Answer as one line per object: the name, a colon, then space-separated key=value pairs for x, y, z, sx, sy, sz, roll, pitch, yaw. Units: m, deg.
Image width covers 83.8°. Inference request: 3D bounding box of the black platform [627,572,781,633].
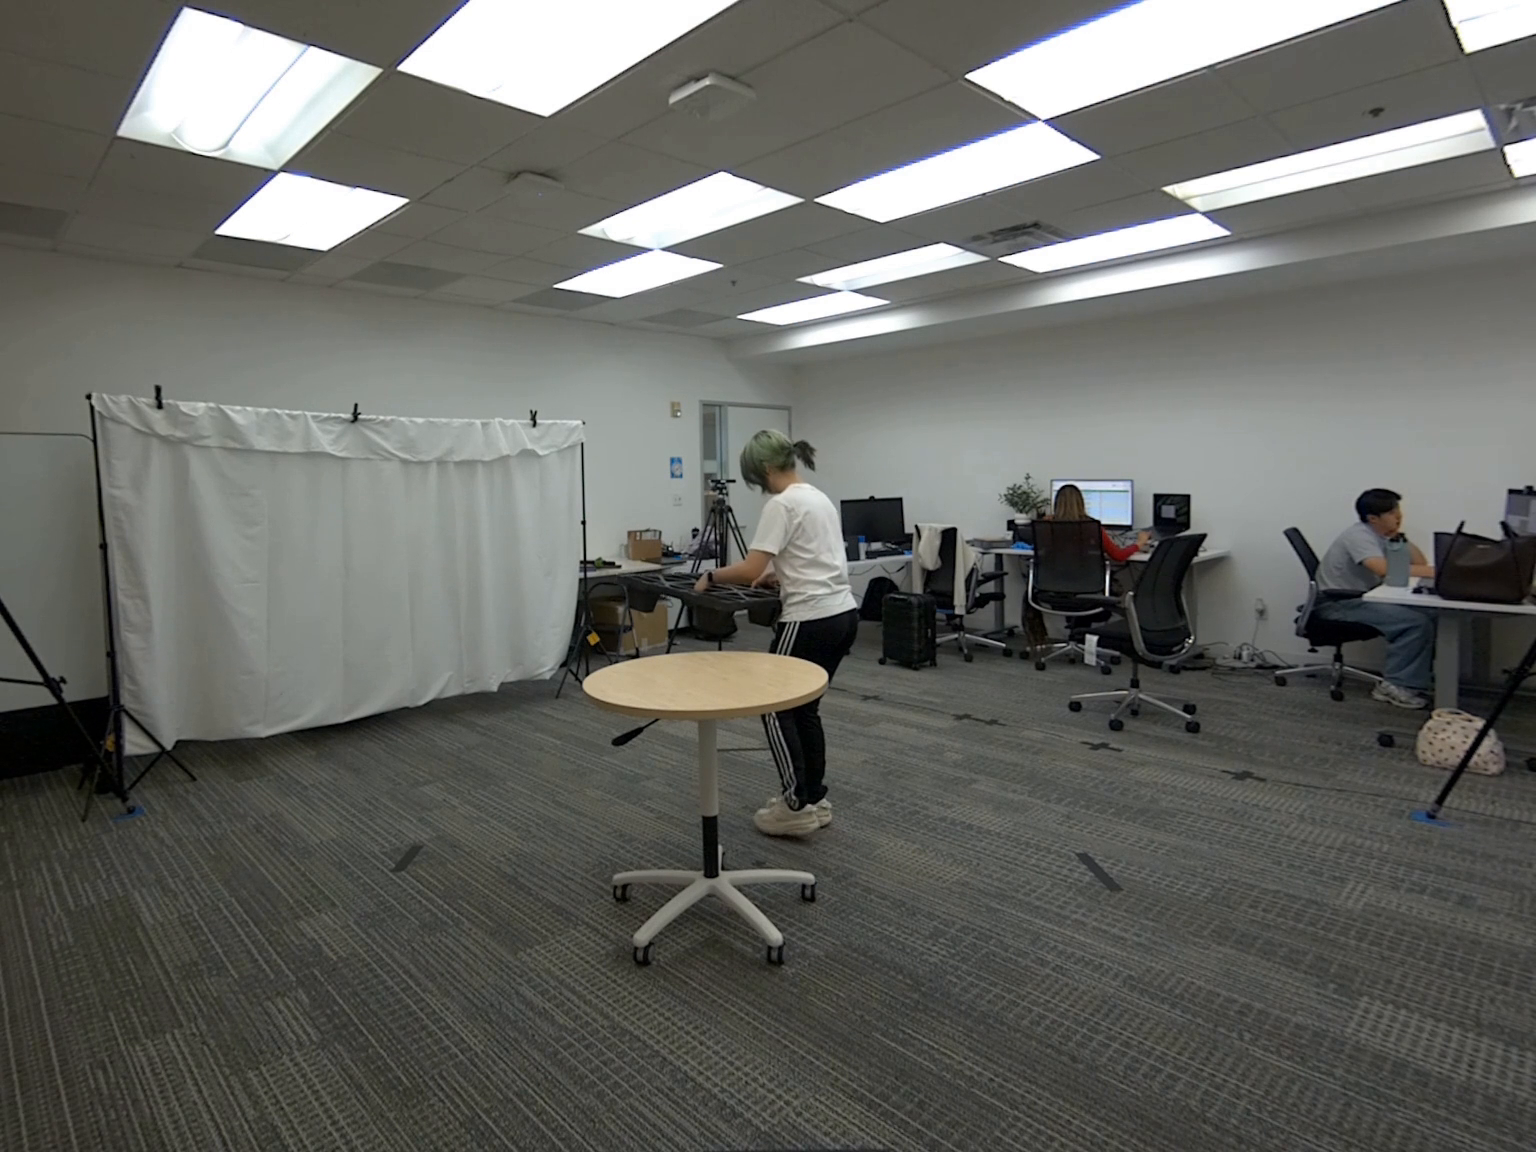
black platform: x=-0.182 y=0.104 z=3.663 sx=0.625 sy=0.143 sz=0.783 roll=12 pitch=8 yaw=34
